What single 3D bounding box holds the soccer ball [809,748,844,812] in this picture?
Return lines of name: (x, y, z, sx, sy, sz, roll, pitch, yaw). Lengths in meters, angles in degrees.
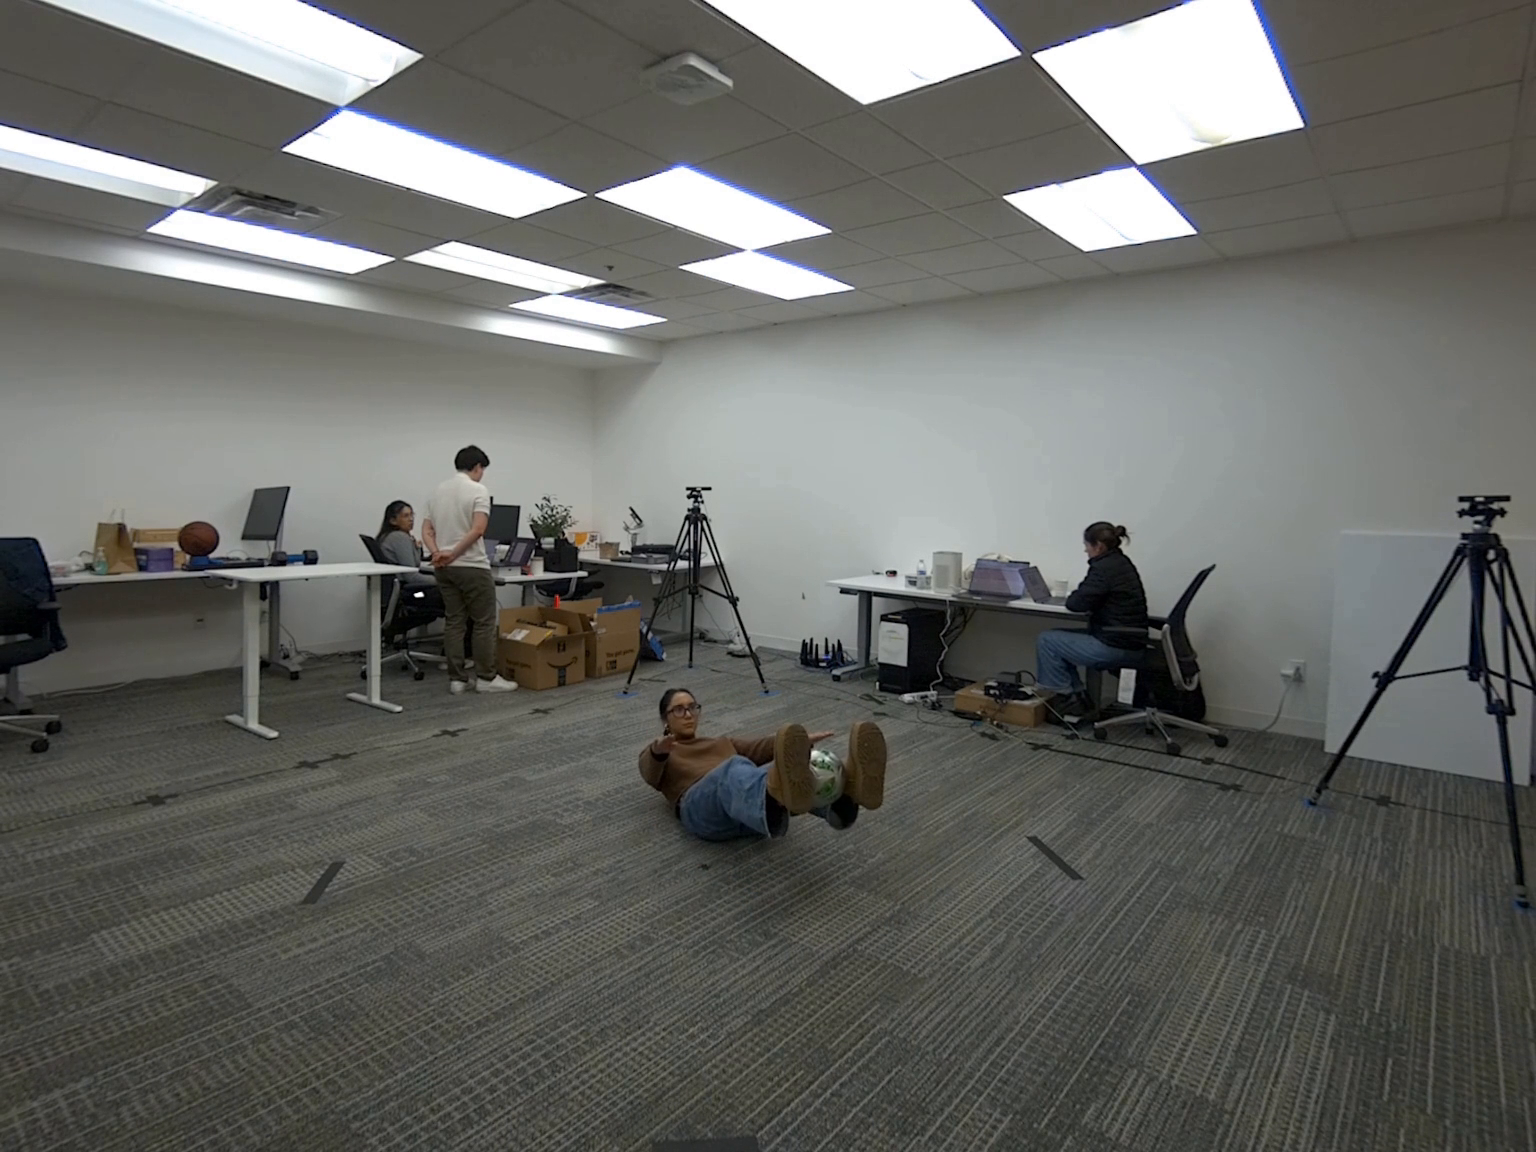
soccer ball: (0.158, 0.662, 2.821, 0.187, 0.187, 0.188, 1, 4, -2)
